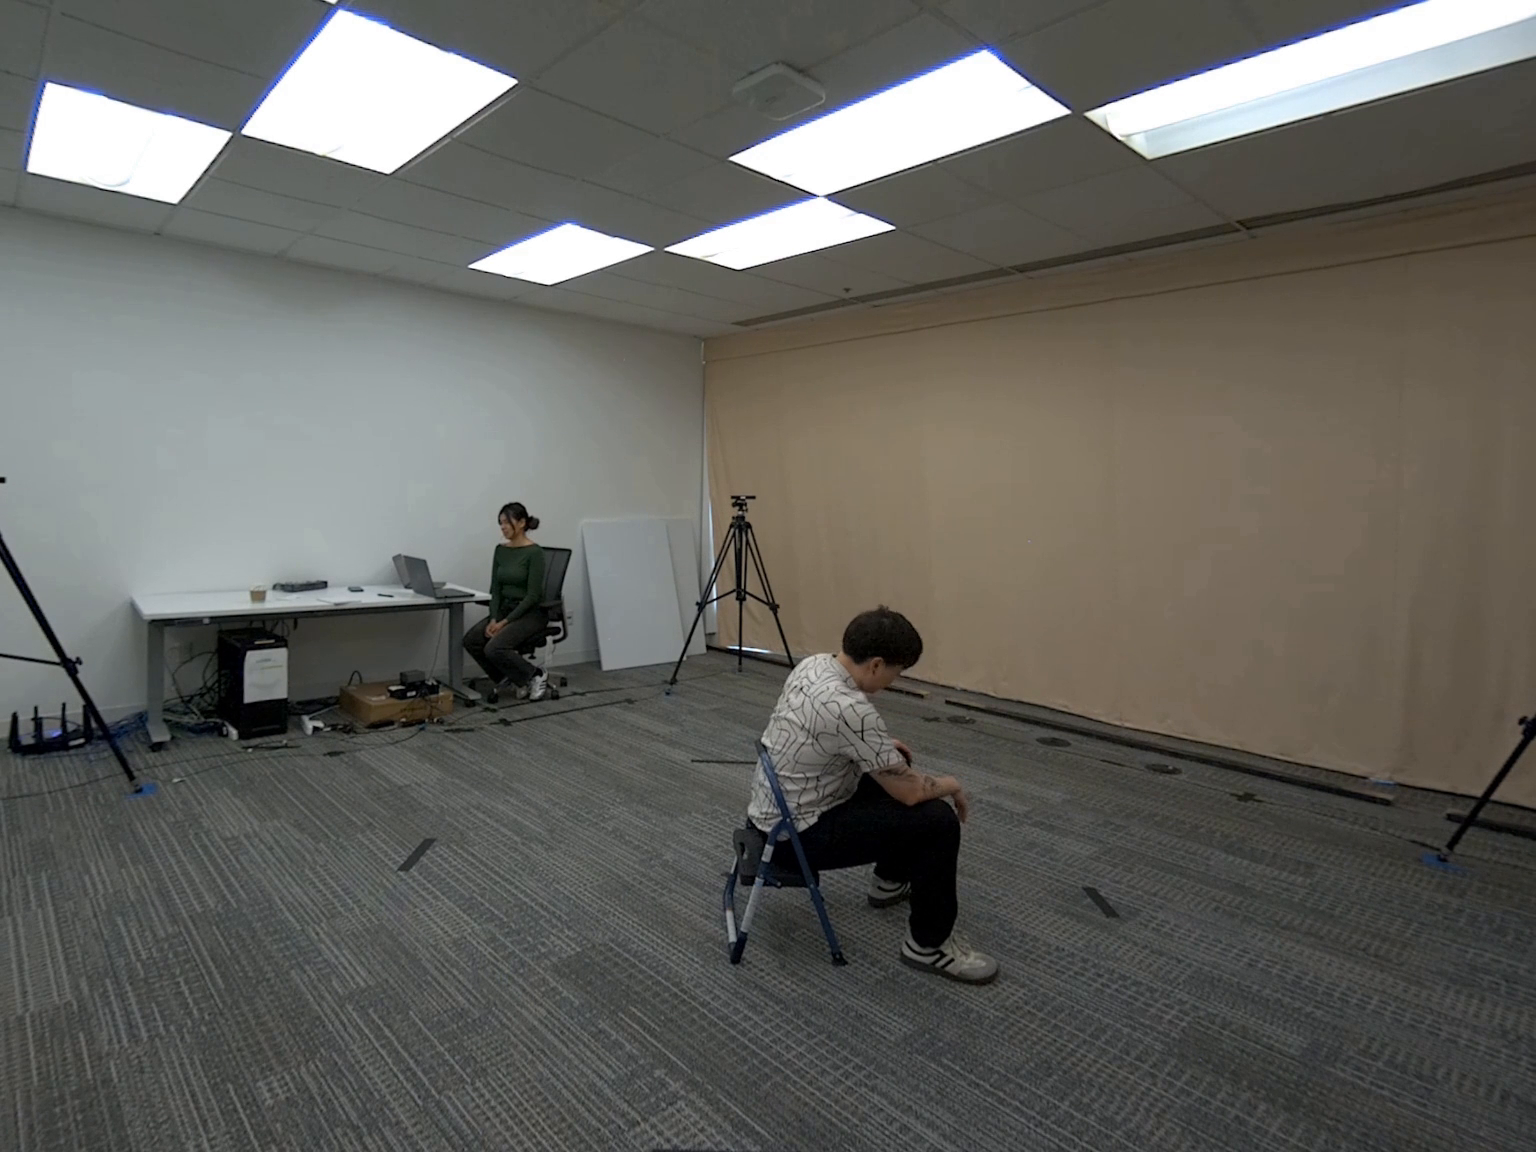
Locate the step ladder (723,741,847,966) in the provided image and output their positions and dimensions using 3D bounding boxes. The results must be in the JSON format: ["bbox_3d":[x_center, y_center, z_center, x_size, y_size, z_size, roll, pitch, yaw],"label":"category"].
[{"bbox_3d":[0.039,0.844,2.699,0.347,0.604,0.434,1,4,-6],"label":"step ladder"}]
